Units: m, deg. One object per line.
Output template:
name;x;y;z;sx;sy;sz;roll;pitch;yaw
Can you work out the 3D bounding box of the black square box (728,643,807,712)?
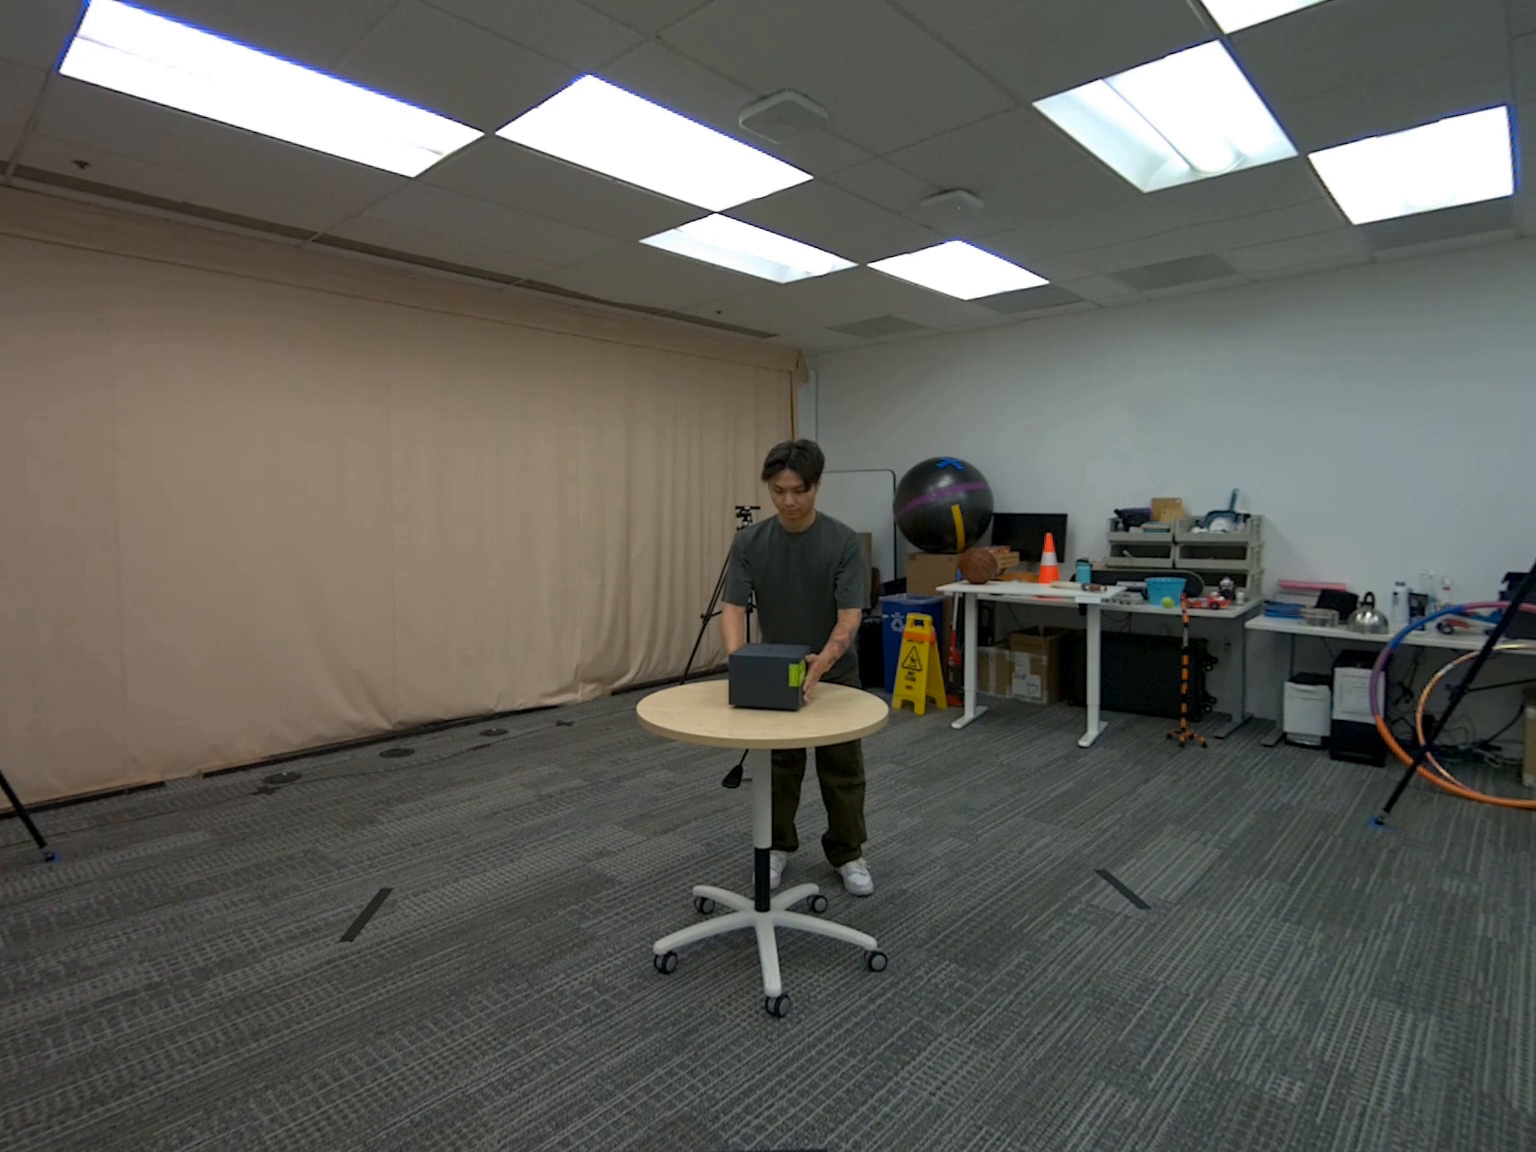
black square box;0.012;0.304;2.608;0.220;0.155;0.225;2;4;12
